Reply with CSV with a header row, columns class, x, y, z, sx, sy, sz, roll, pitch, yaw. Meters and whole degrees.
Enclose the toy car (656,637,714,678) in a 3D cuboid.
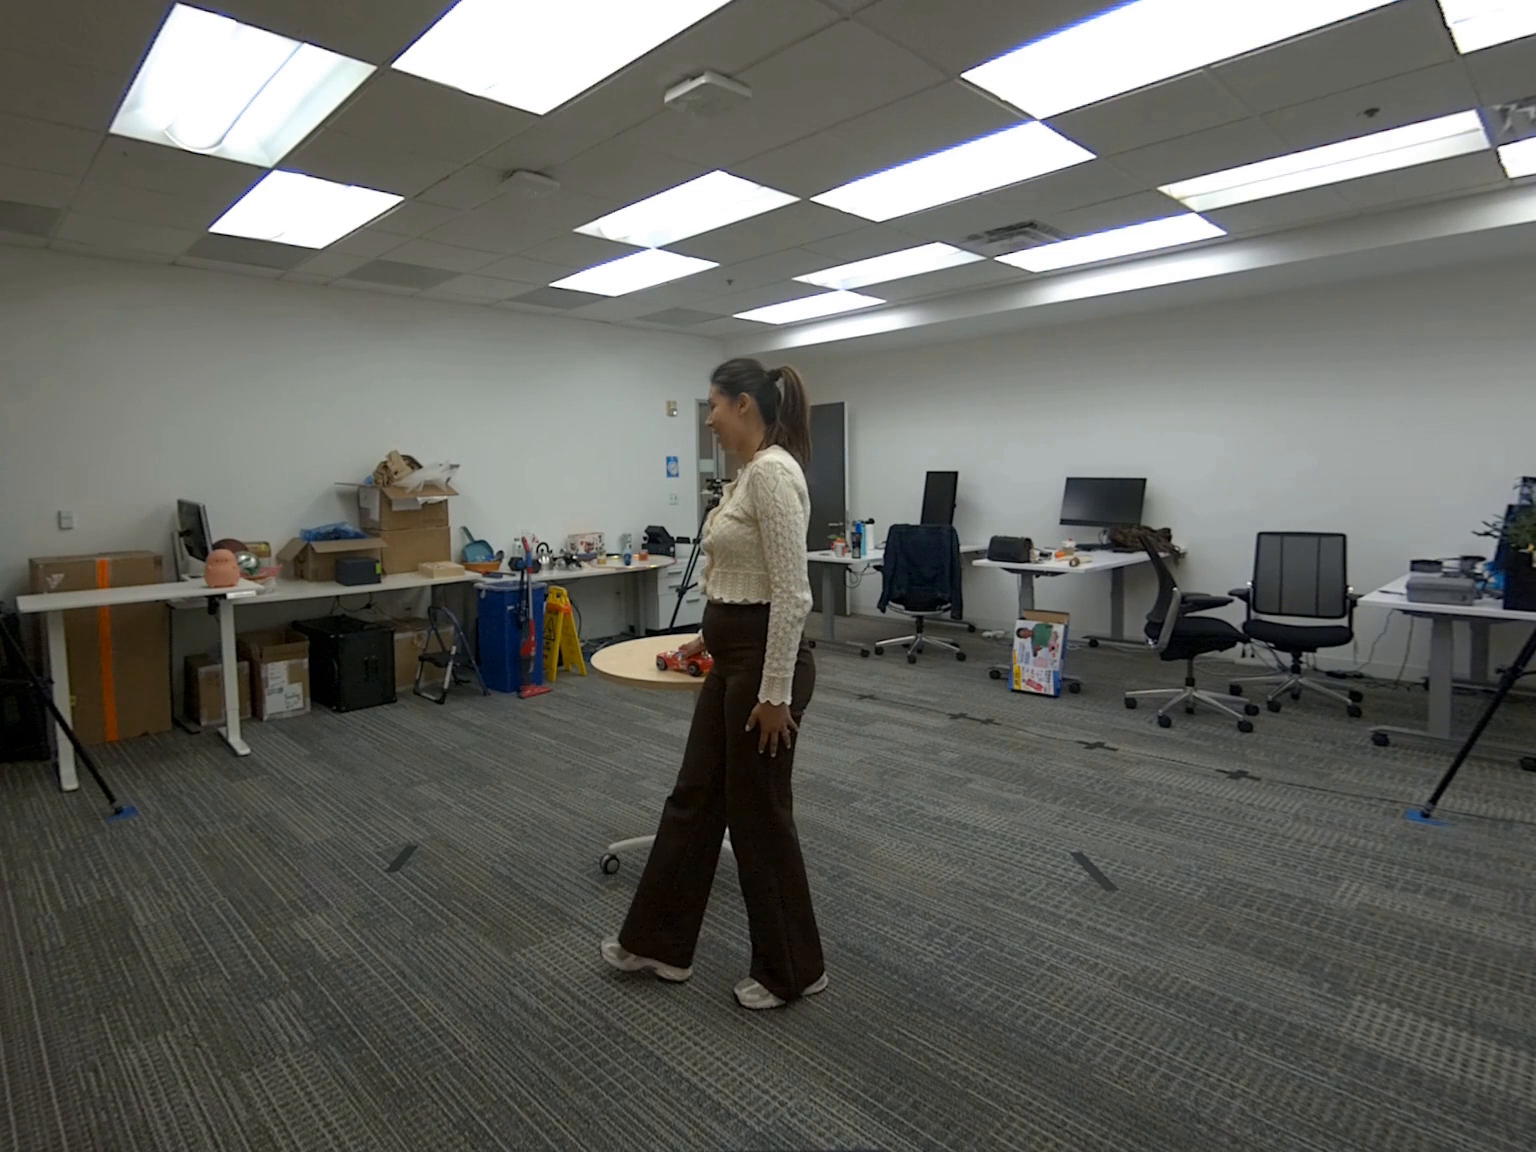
class,x,y,z,sx,sy,sz,roll,pitch,yaw
toy car,-0.237,0.277,2.741,0.260,0.083,0.127,-9,-1,39
